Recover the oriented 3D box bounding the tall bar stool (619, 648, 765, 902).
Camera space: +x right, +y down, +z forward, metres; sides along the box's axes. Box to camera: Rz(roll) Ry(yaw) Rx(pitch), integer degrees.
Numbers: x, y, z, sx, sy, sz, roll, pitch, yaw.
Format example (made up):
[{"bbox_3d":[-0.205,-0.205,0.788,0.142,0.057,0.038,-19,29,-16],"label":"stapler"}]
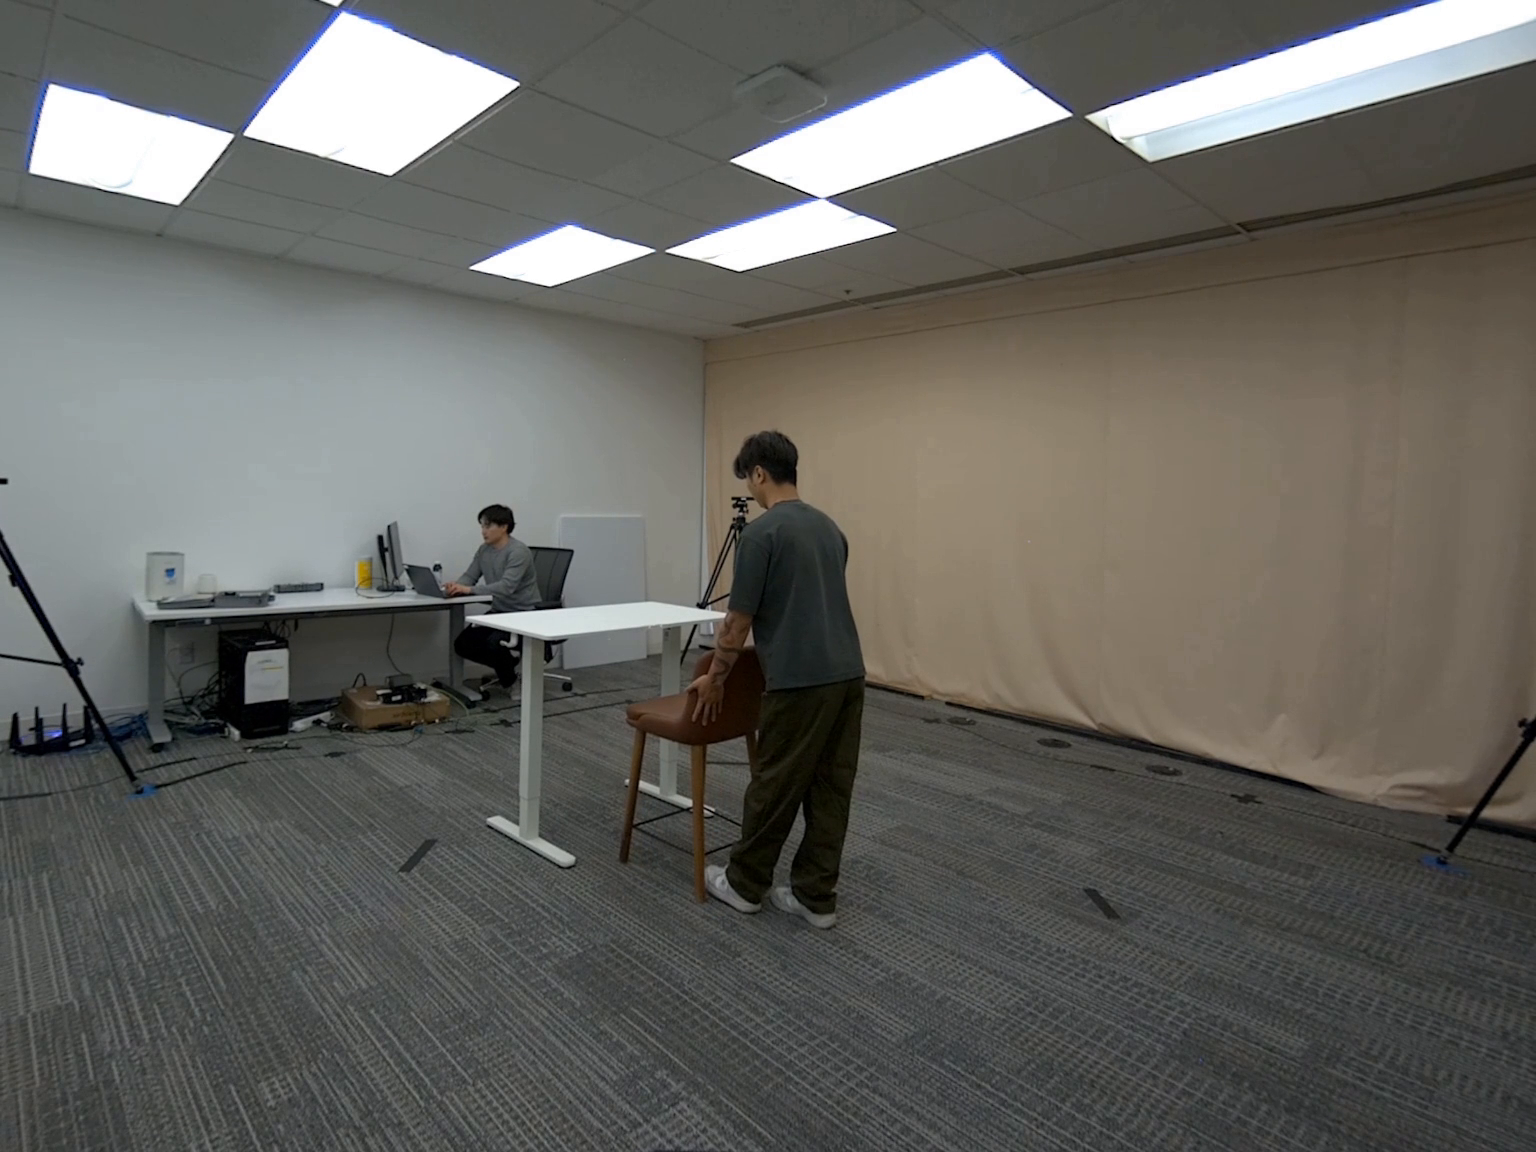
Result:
[{"bbox_3d":[-0.256,0.661,3.152,0.480,0.886,0.446,7,7,43],"label":"tall bar stool"}]
